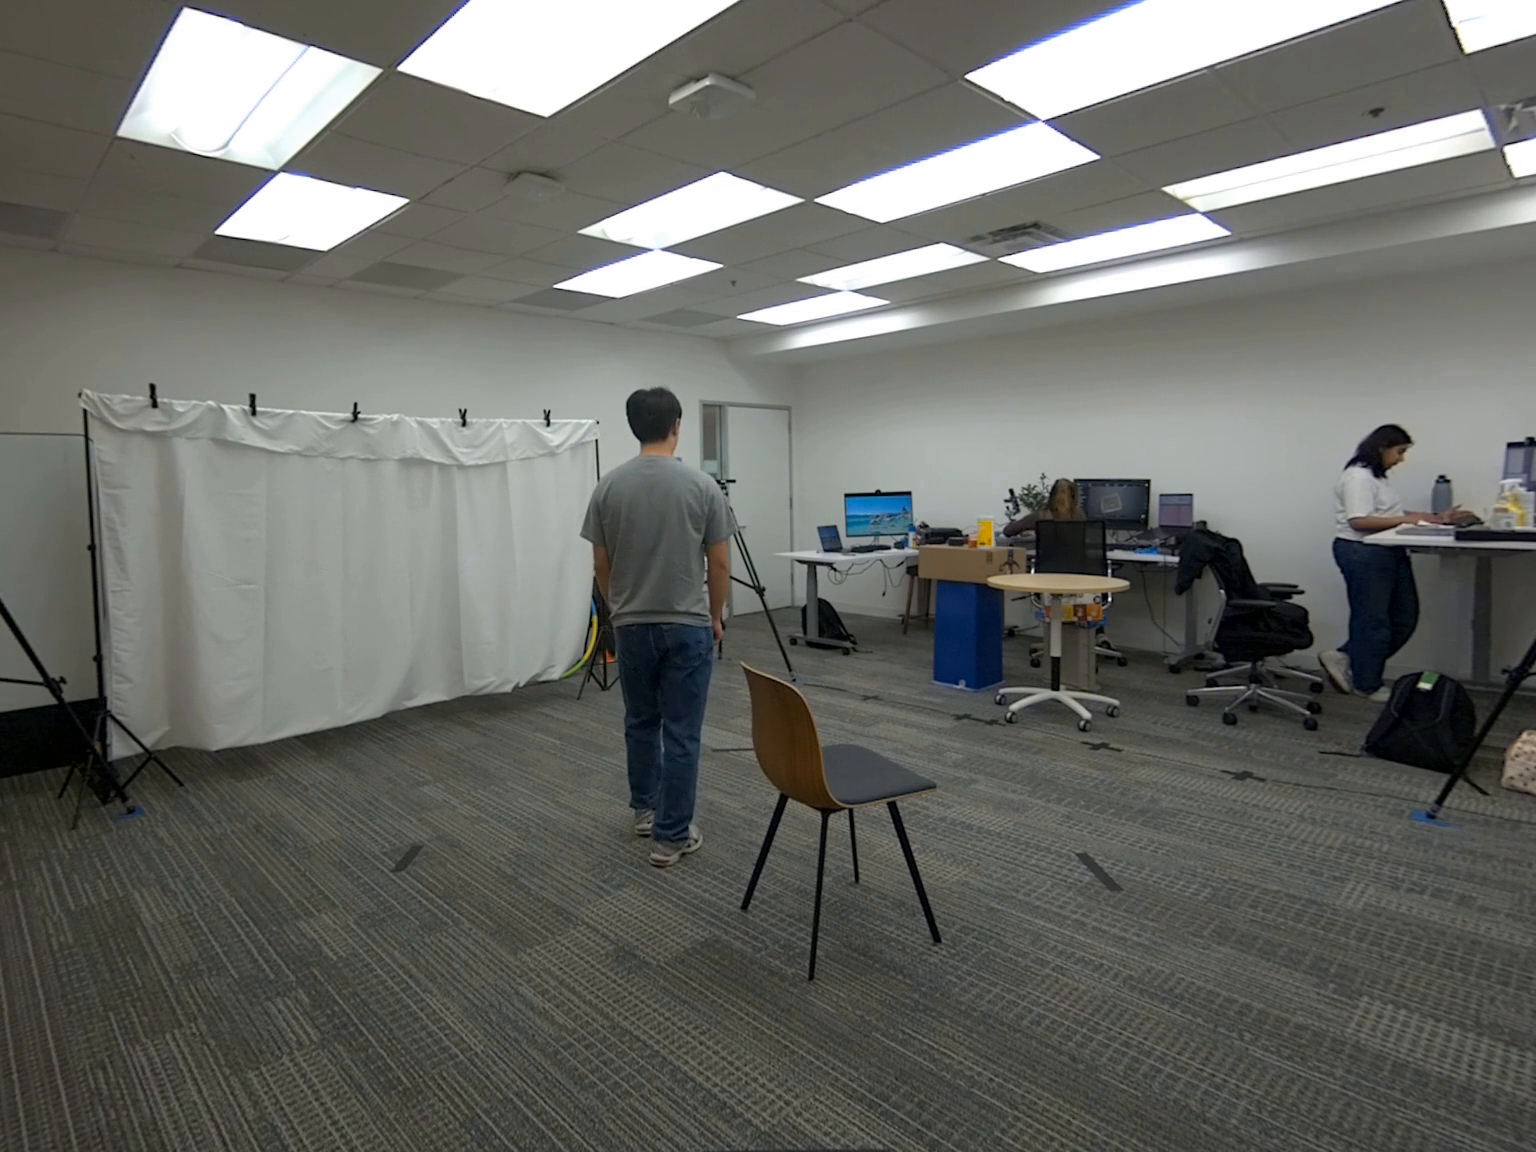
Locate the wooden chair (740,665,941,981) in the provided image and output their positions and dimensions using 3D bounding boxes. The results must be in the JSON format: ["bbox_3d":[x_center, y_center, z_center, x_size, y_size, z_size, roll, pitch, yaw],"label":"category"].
[{"bbox_3d":[0.218,0.669,2.638,0.513,0.872,0.490,-8,7,-25],"label":"wooden chair"}]
